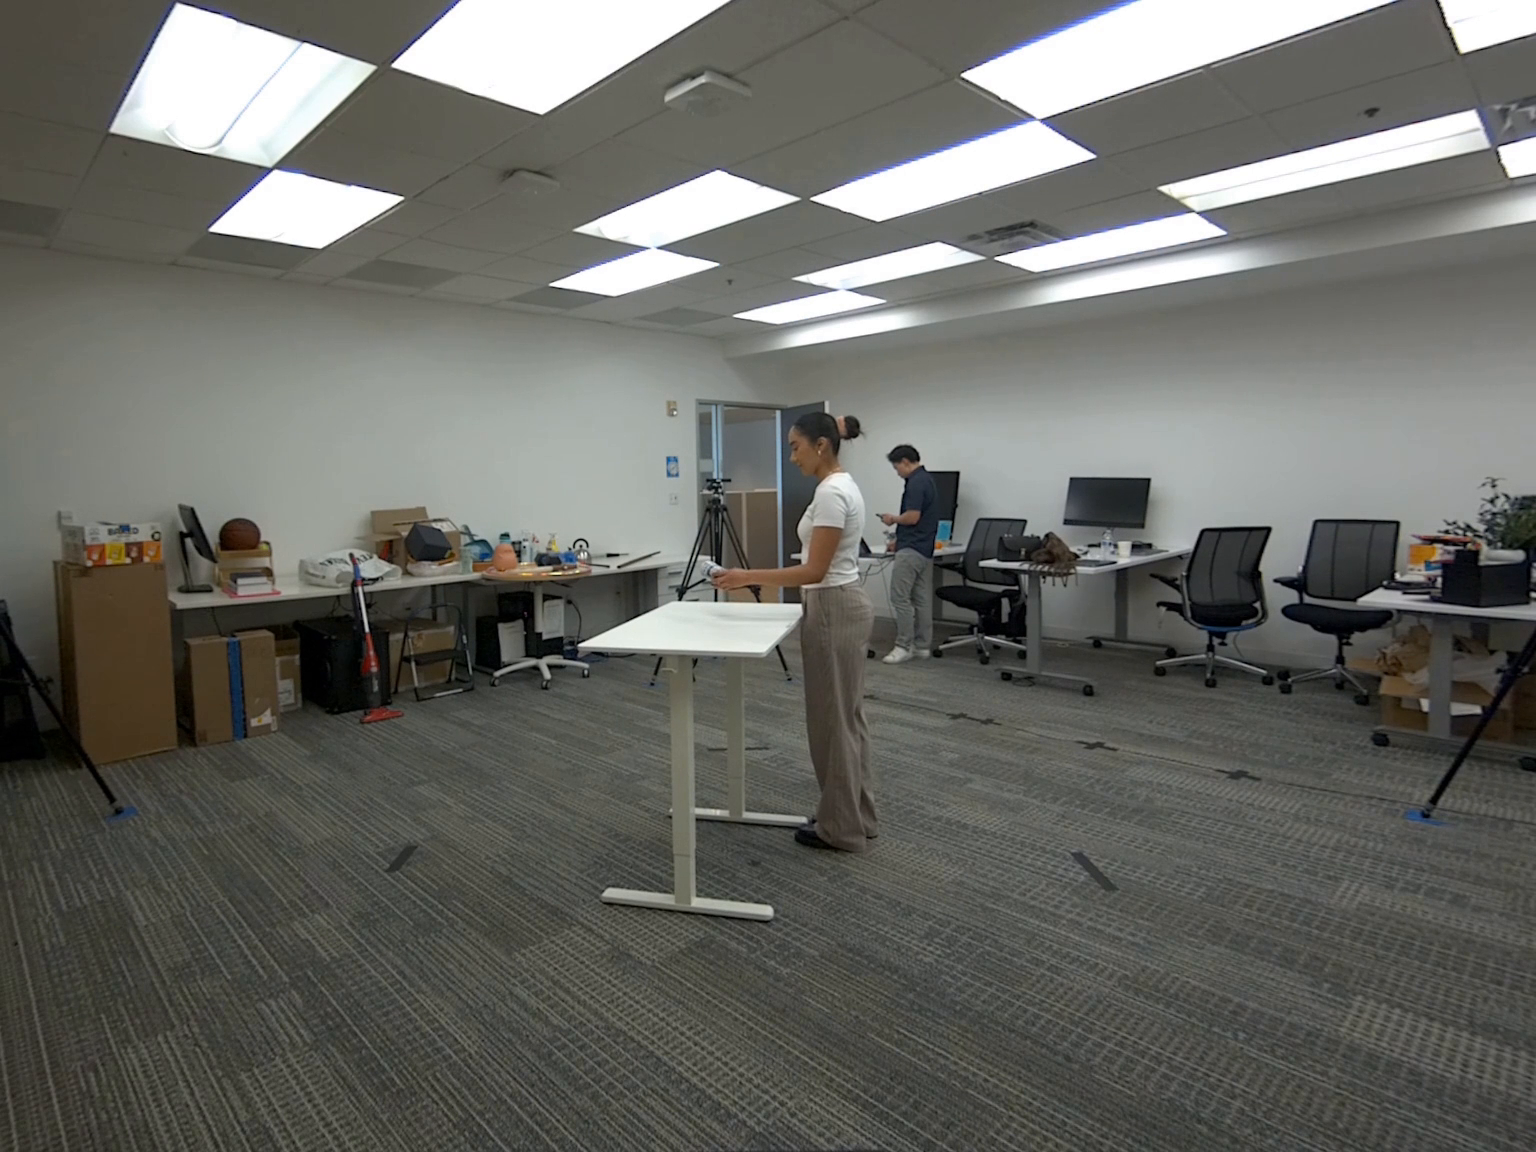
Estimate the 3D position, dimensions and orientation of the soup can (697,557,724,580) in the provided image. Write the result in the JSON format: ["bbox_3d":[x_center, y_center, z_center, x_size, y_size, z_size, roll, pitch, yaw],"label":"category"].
[{"bbox_3d":[-0.191,-0.013,3.167,0.065,0.066,0.126,-4,22,-35],"label":"soup can"}]
